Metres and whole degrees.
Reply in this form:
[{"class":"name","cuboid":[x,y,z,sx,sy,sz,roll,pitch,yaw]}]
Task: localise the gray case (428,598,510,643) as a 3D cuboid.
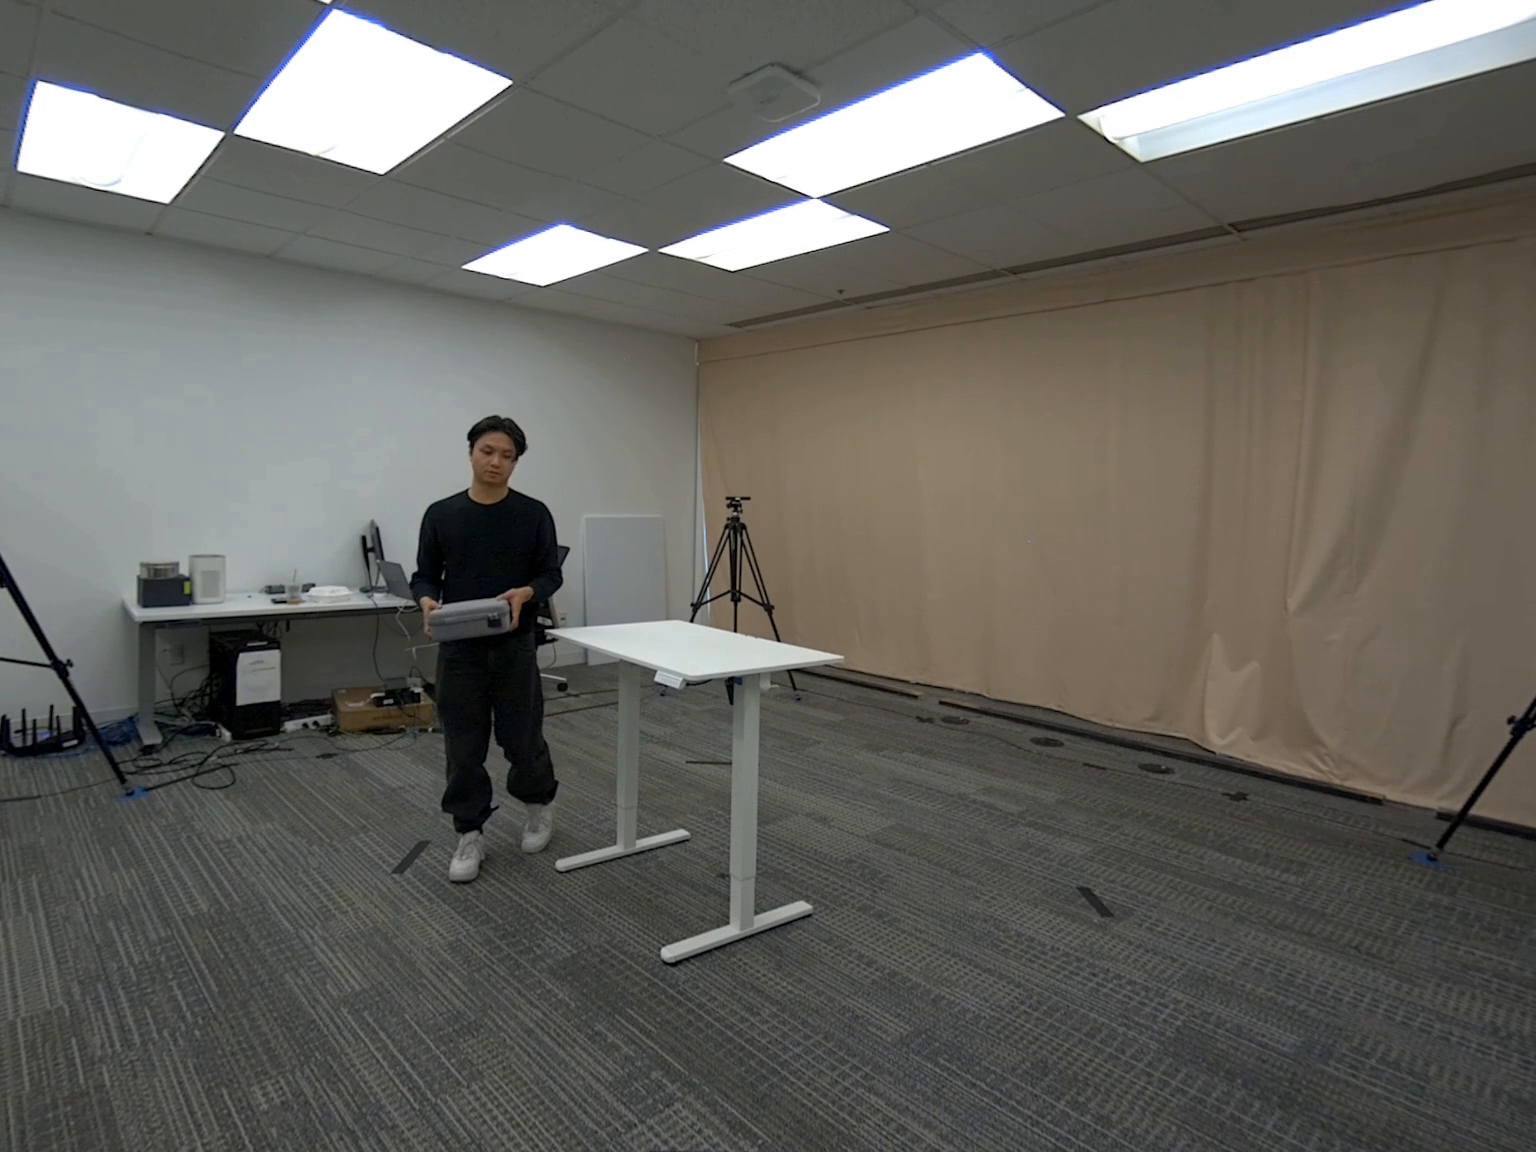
[{"class":"gray case","cuboid":[-1.050,0.148,2.880,0.254,0.104,0.264,-7,6,-14]}]
